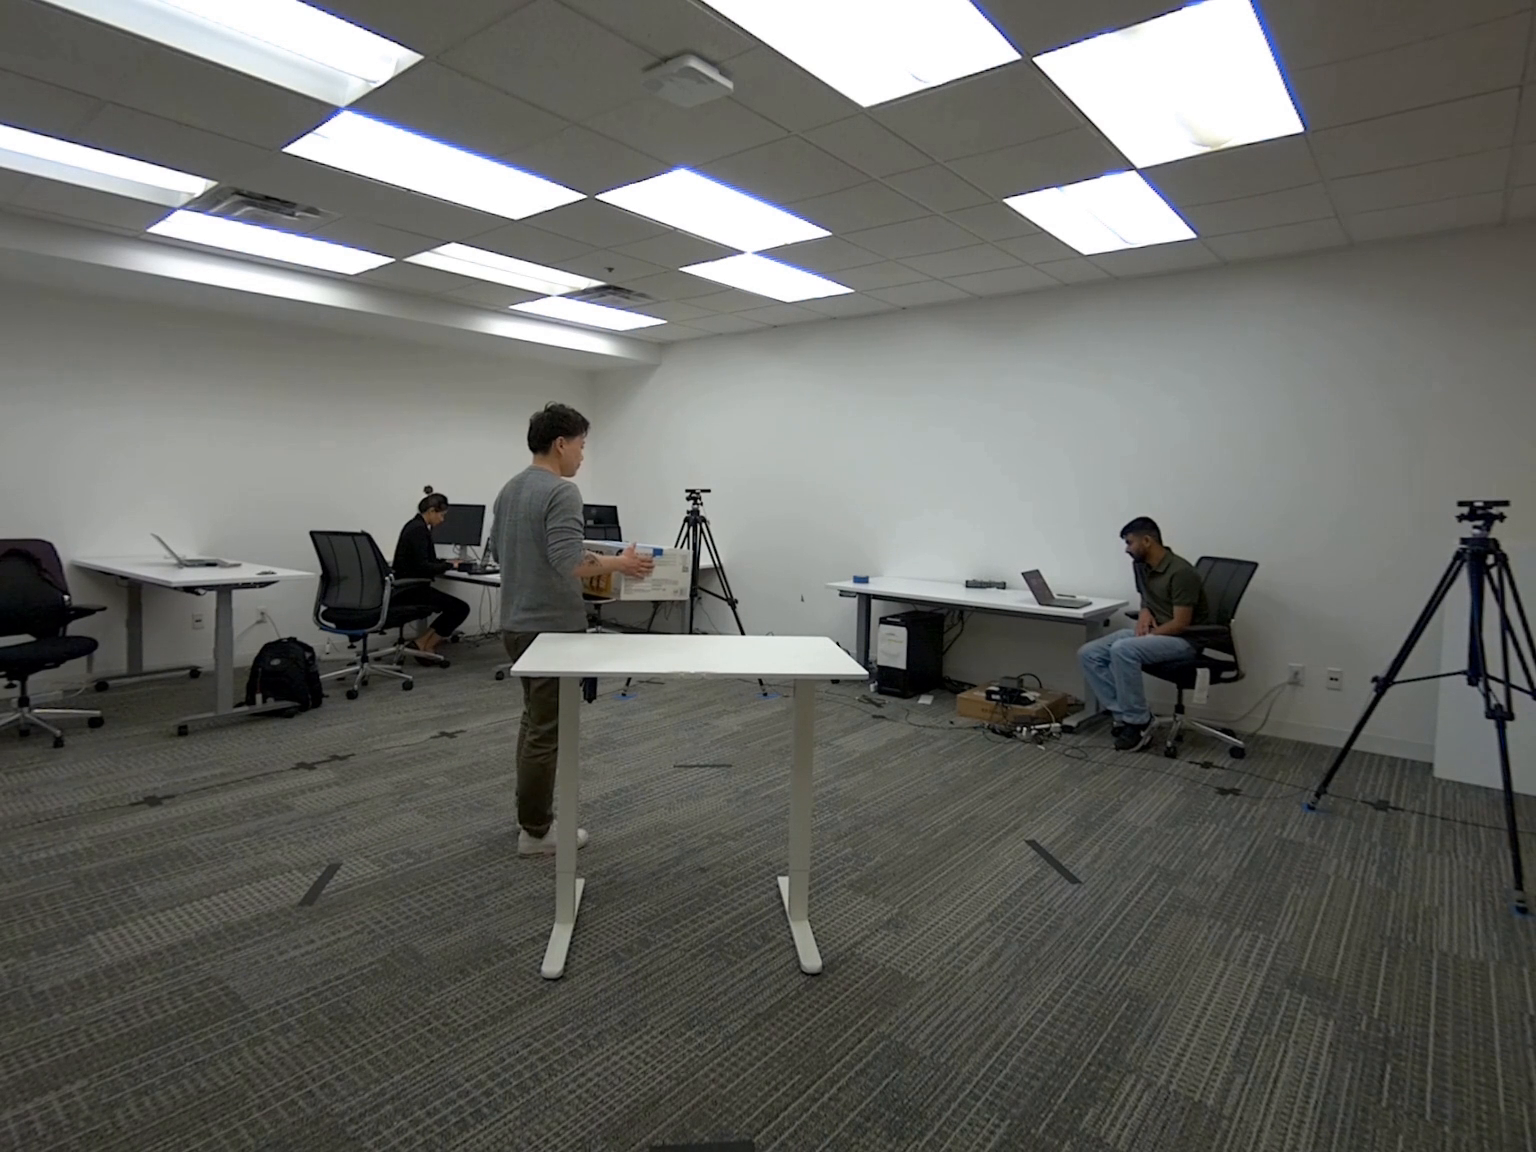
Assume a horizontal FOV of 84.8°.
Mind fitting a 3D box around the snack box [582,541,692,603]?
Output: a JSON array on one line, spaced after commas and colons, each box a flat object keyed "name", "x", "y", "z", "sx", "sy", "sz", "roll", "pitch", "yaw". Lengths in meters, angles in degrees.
[{"name": "snack box", "x": -0.579, "y": -0.025, "z": 3.430, "sx": 0.329, "sy": 0.205, "sz": 0.419, "roll": 1, "pitch": 5, "yaw": -44}]
